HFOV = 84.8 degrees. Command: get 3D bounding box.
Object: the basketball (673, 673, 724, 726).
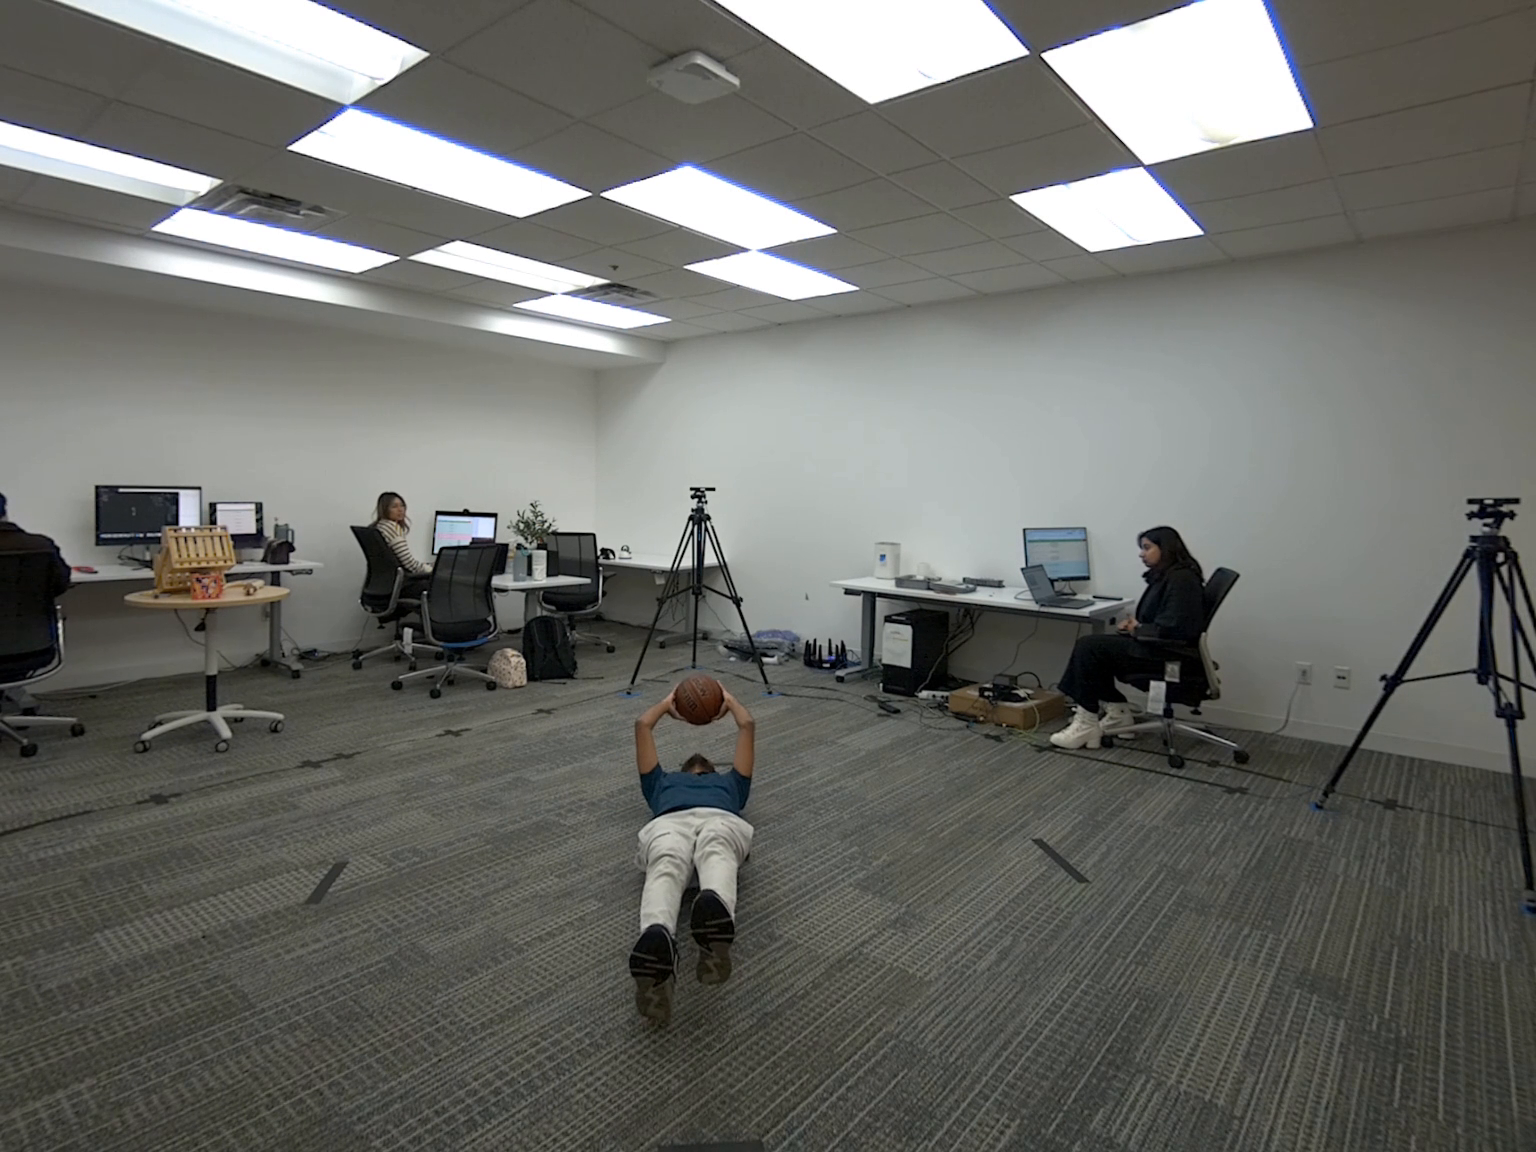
[{"bbox_3d":[-0.333,0.581,4.047,0.235,0.235,0.237,1,4,-2],"label":"basketball"}]
